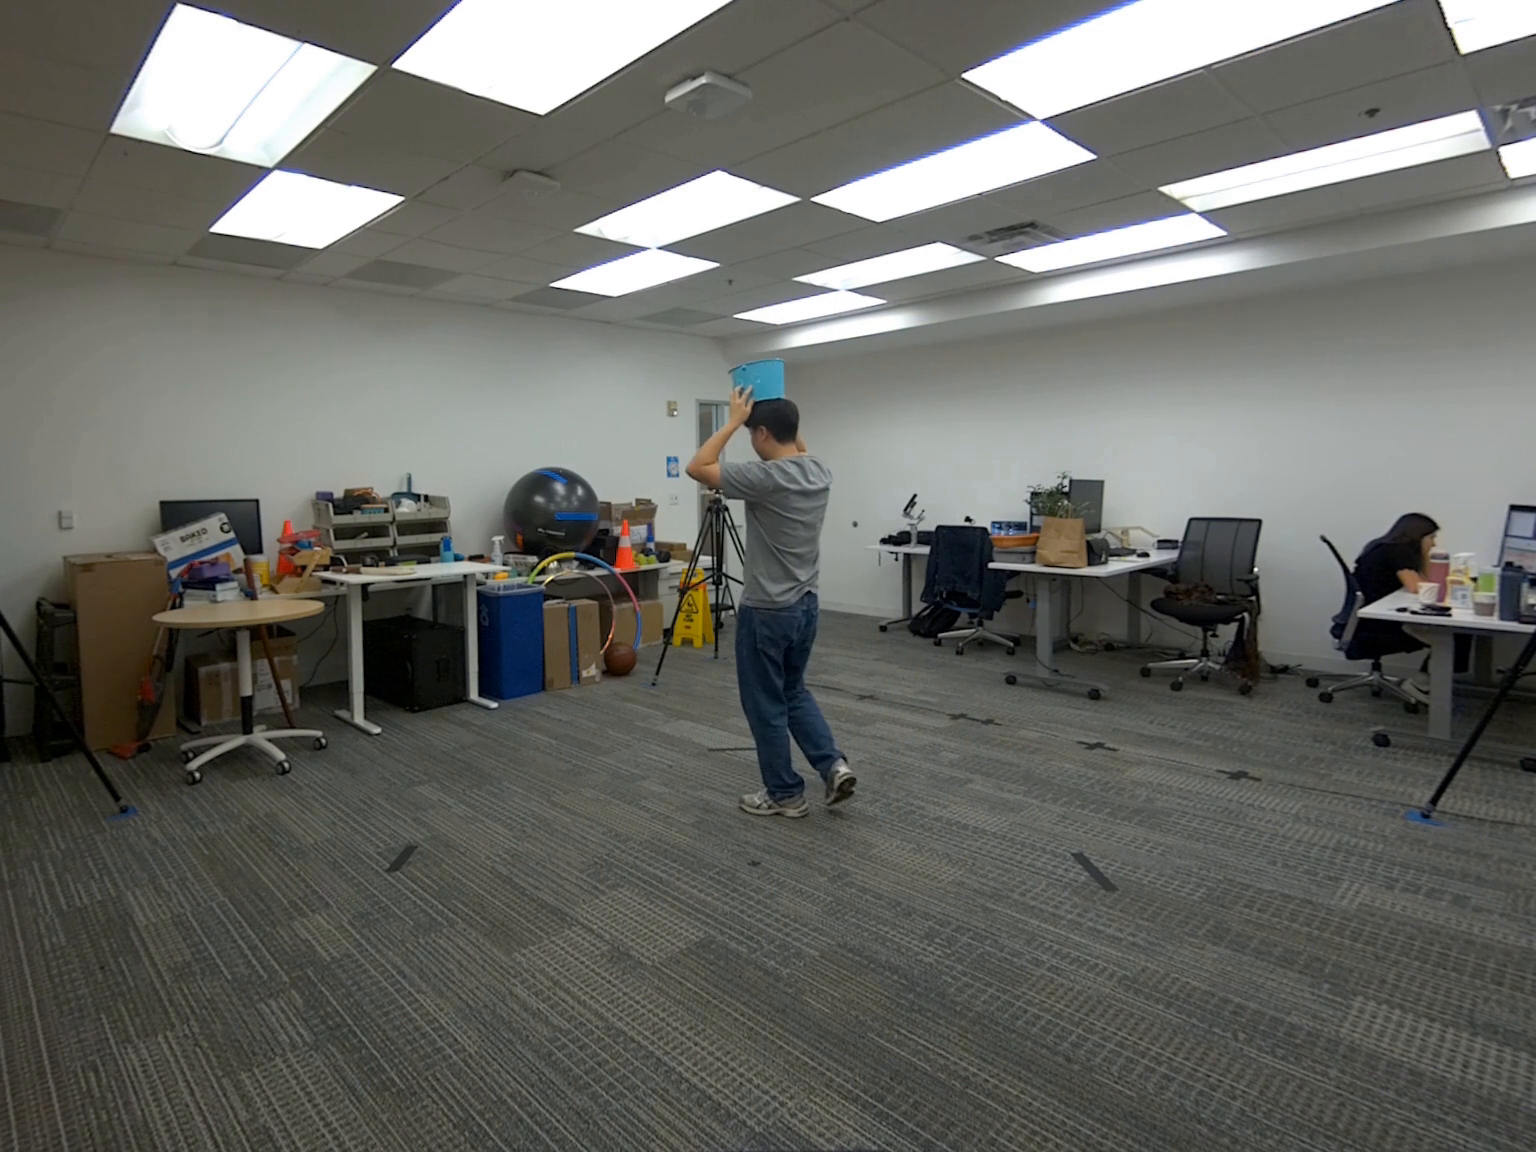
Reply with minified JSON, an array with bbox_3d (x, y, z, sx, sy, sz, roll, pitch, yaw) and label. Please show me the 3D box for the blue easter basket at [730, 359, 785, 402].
[{"bbox_3d":[-0.032,-0.779,3.478,0.243,0.156,0.243,-9,0,-2],"label":"blue easter basket"}]
